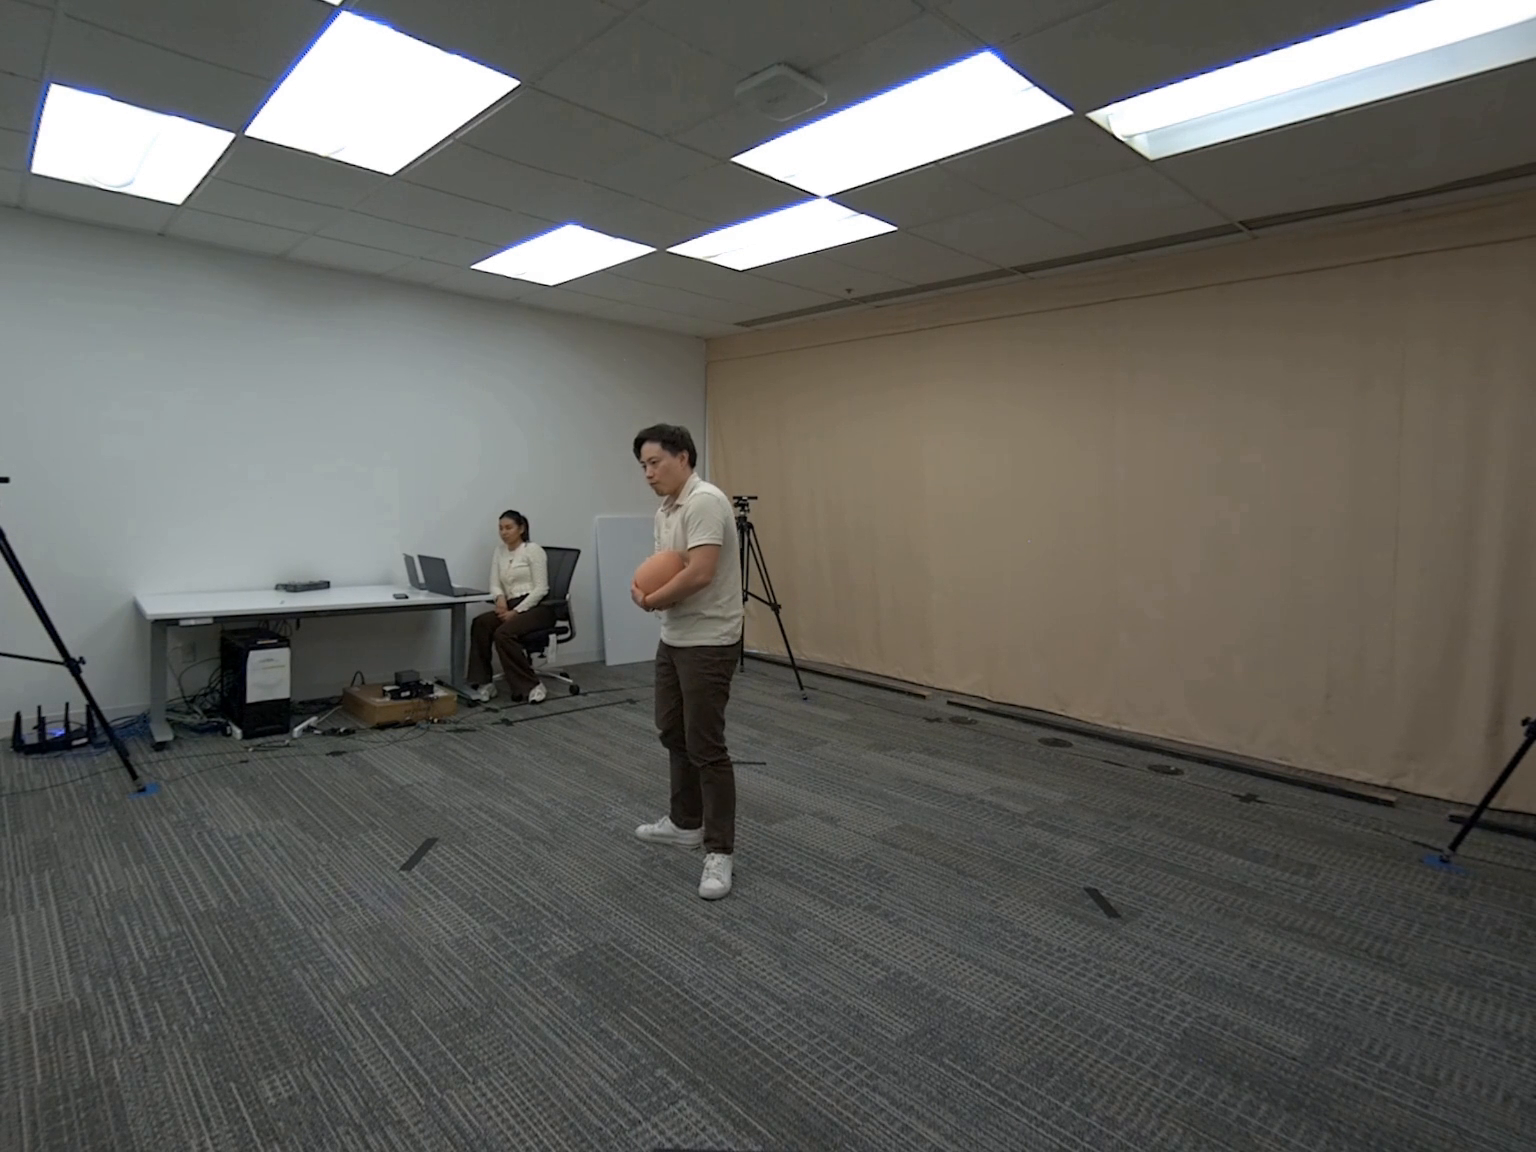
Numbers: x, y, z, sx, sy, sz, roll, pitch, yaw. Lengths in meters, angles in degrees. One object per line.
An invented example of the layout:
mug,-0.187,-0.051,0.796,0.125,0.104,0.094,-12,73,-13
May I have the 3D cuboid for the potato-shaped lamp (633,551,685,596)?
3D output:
potato-shaped lamp,-0.398,-0.010,3.086,0.160,0.198,0.176,28,23,-33
